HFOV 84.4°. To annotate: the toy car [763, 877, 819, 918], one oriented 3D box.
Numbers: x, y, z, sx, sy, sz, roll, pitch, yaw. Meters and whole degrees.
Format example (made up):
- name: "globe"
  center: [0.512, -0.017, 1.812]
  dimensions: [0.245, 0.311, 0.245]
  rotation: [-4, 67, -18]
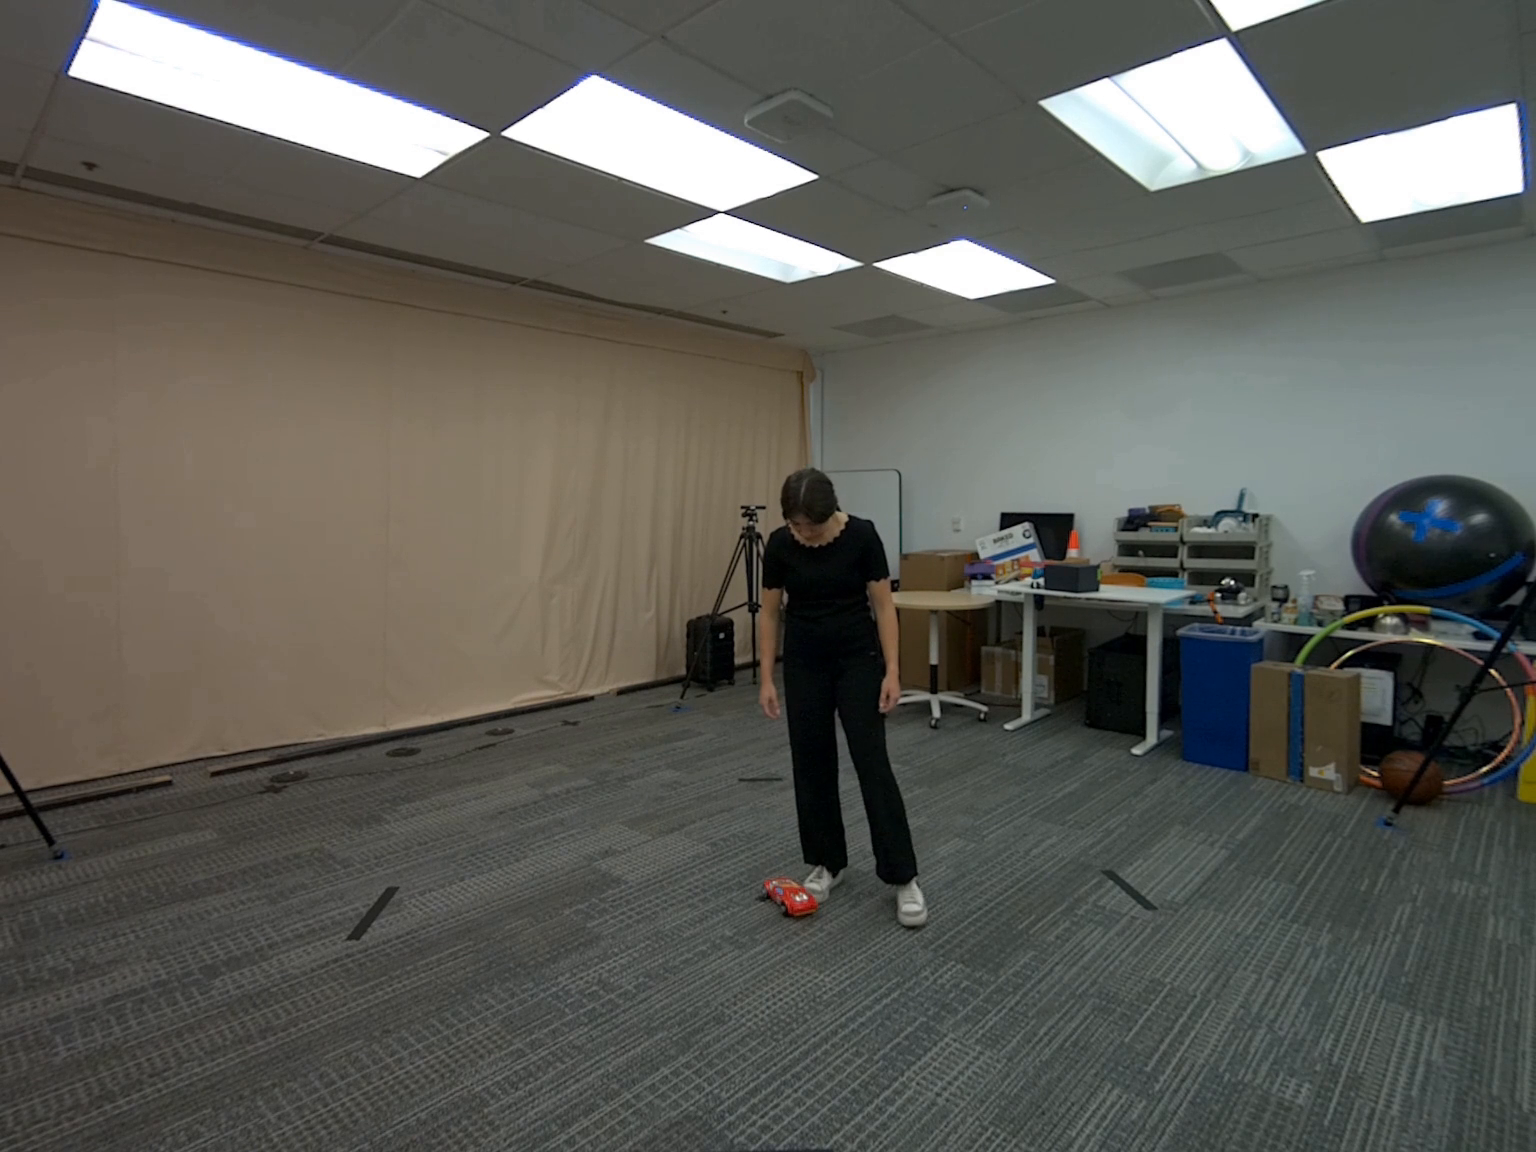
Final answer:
- name: "toy car"
  center: [0.081, 1.118, 2.921]
  dimensions: [0.127, 0.083, 0.259]
  rotation: [-1, -6, -25]
